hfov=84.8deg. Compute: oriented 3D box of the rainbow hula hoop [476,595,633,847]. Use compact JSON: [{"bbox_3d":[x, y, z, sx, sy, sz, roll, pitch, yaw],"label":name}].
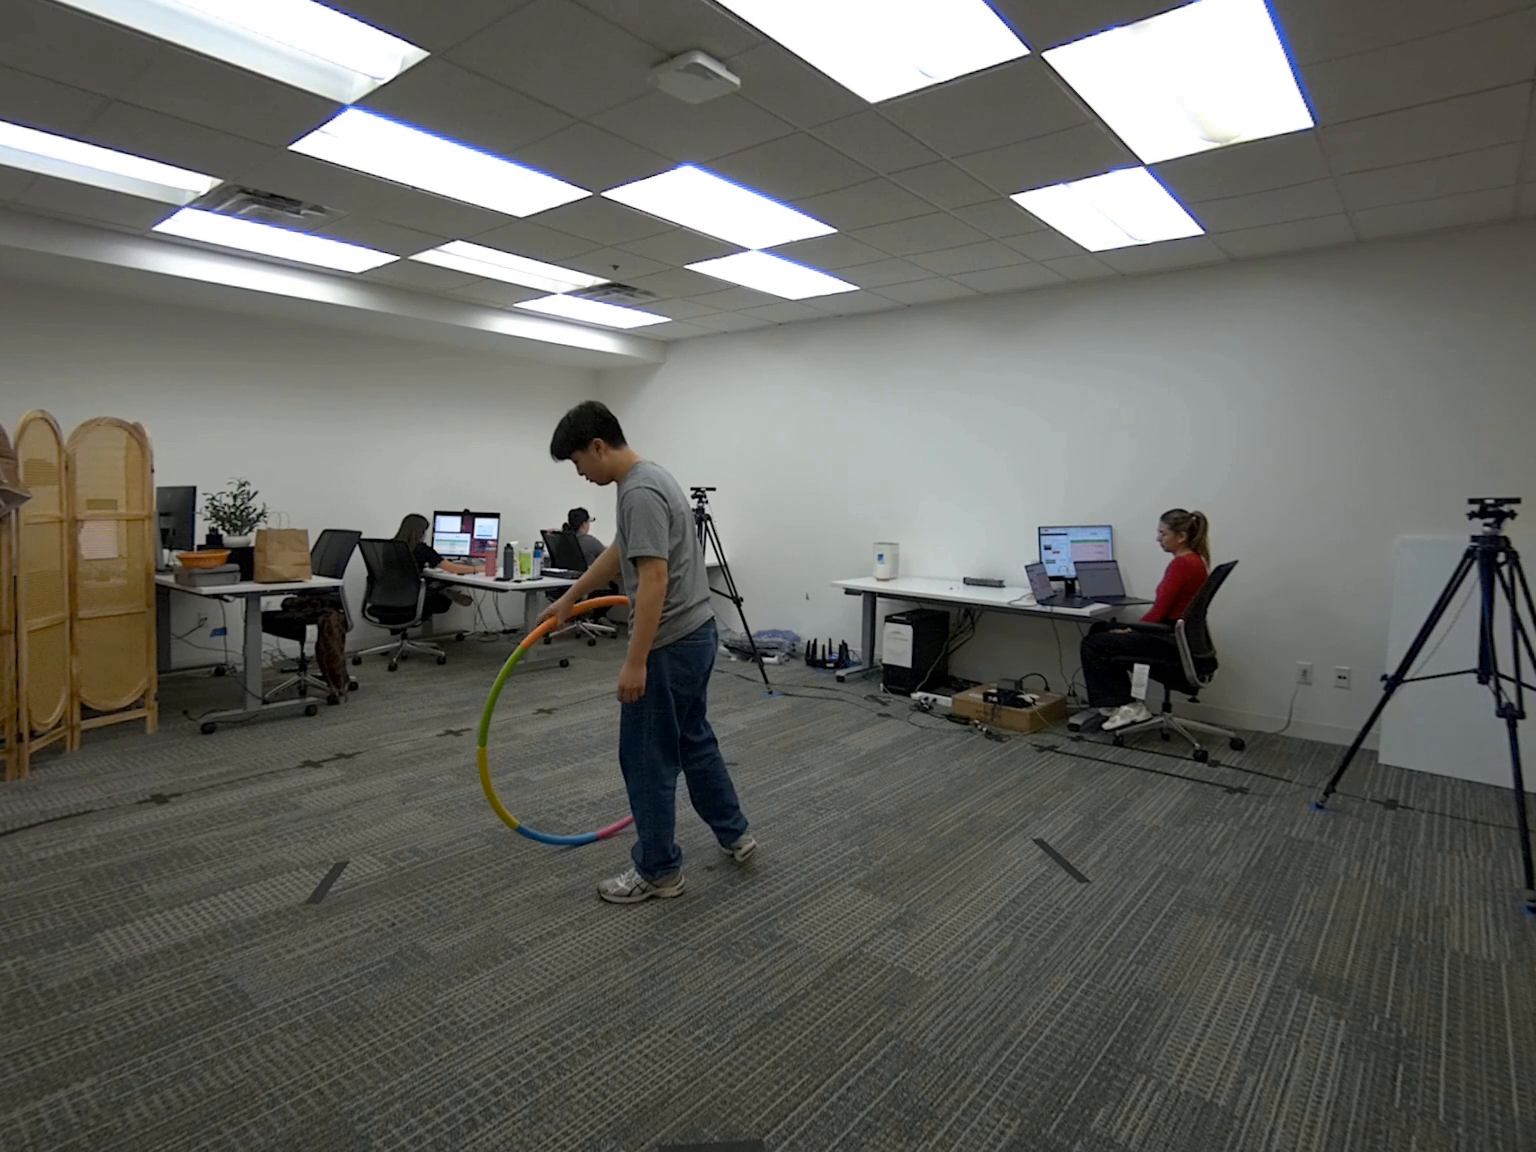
[{"bbox_3d":[-0.646,0.555,3.274,0.949,0.972,0.037,-2,11,-40],"label":"rainbow hula hoop"}]
